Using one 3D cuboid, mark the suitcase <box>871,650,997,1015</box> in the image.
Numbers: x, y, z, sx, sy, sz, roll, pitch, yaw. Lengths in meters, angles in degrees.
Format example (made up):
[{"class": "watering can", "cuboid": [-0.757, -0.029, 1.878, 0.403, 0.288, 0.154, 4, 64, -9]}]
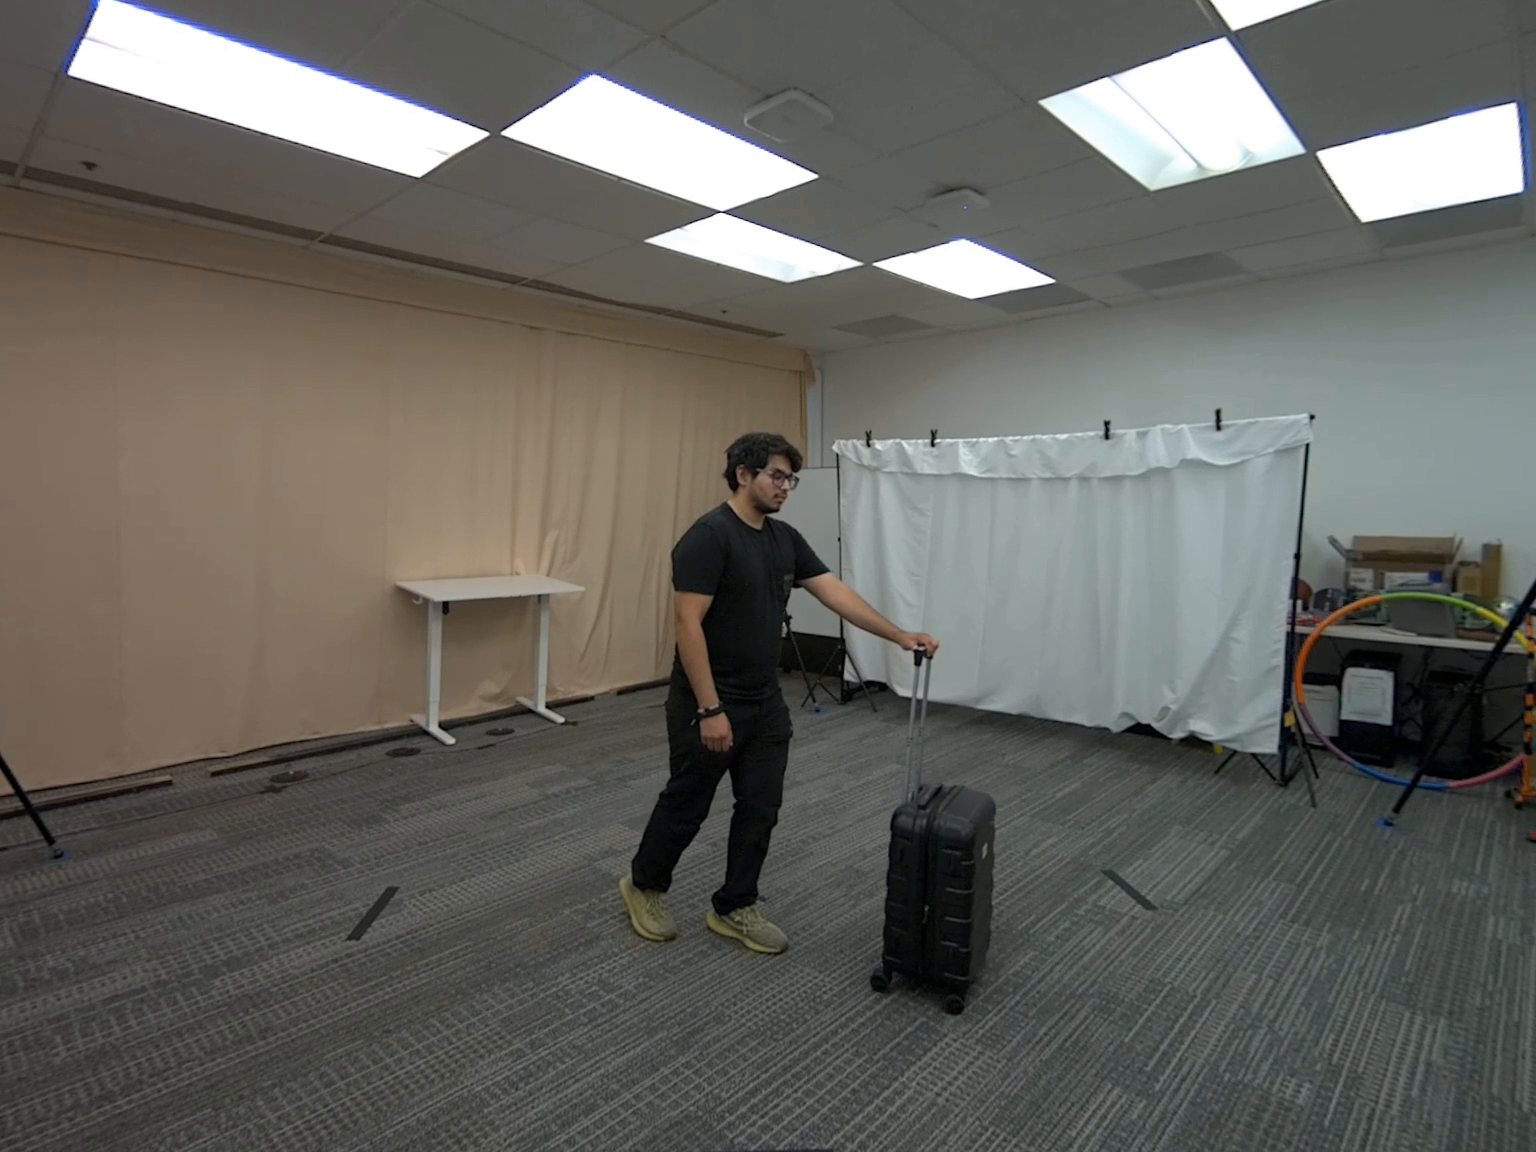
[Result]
[{"class": "suitcase", "cuboid": [0.533, 0.713, 2.455, 0.264, 0.976, 0.375, 7, 5, 25]}]
